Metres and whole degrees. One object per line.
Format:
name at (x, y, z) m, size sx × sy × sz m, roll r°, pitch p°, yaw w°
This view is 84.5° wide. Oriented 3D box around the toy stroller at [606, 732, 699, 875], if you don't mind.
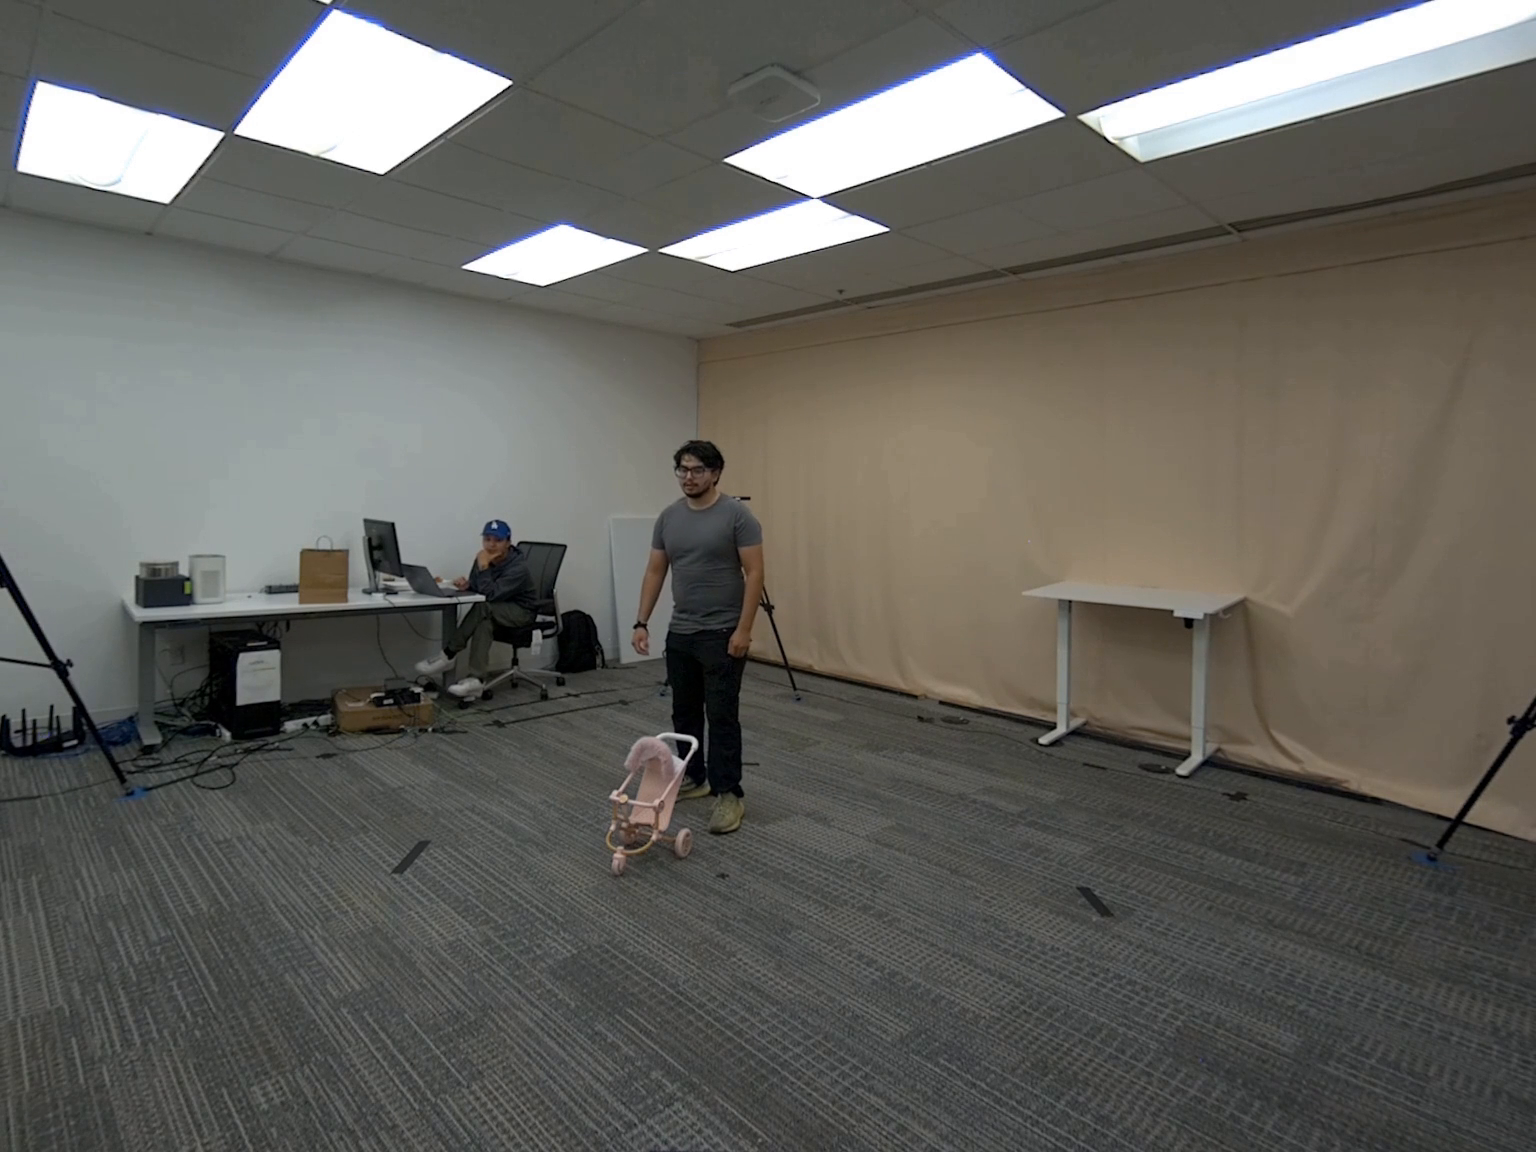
toy stroller at (-0.480, 0.870, 3.252) m, size 0.287 × 0.539 × 0.331 m, roll 2°, pitch -14°, yaw 31°
